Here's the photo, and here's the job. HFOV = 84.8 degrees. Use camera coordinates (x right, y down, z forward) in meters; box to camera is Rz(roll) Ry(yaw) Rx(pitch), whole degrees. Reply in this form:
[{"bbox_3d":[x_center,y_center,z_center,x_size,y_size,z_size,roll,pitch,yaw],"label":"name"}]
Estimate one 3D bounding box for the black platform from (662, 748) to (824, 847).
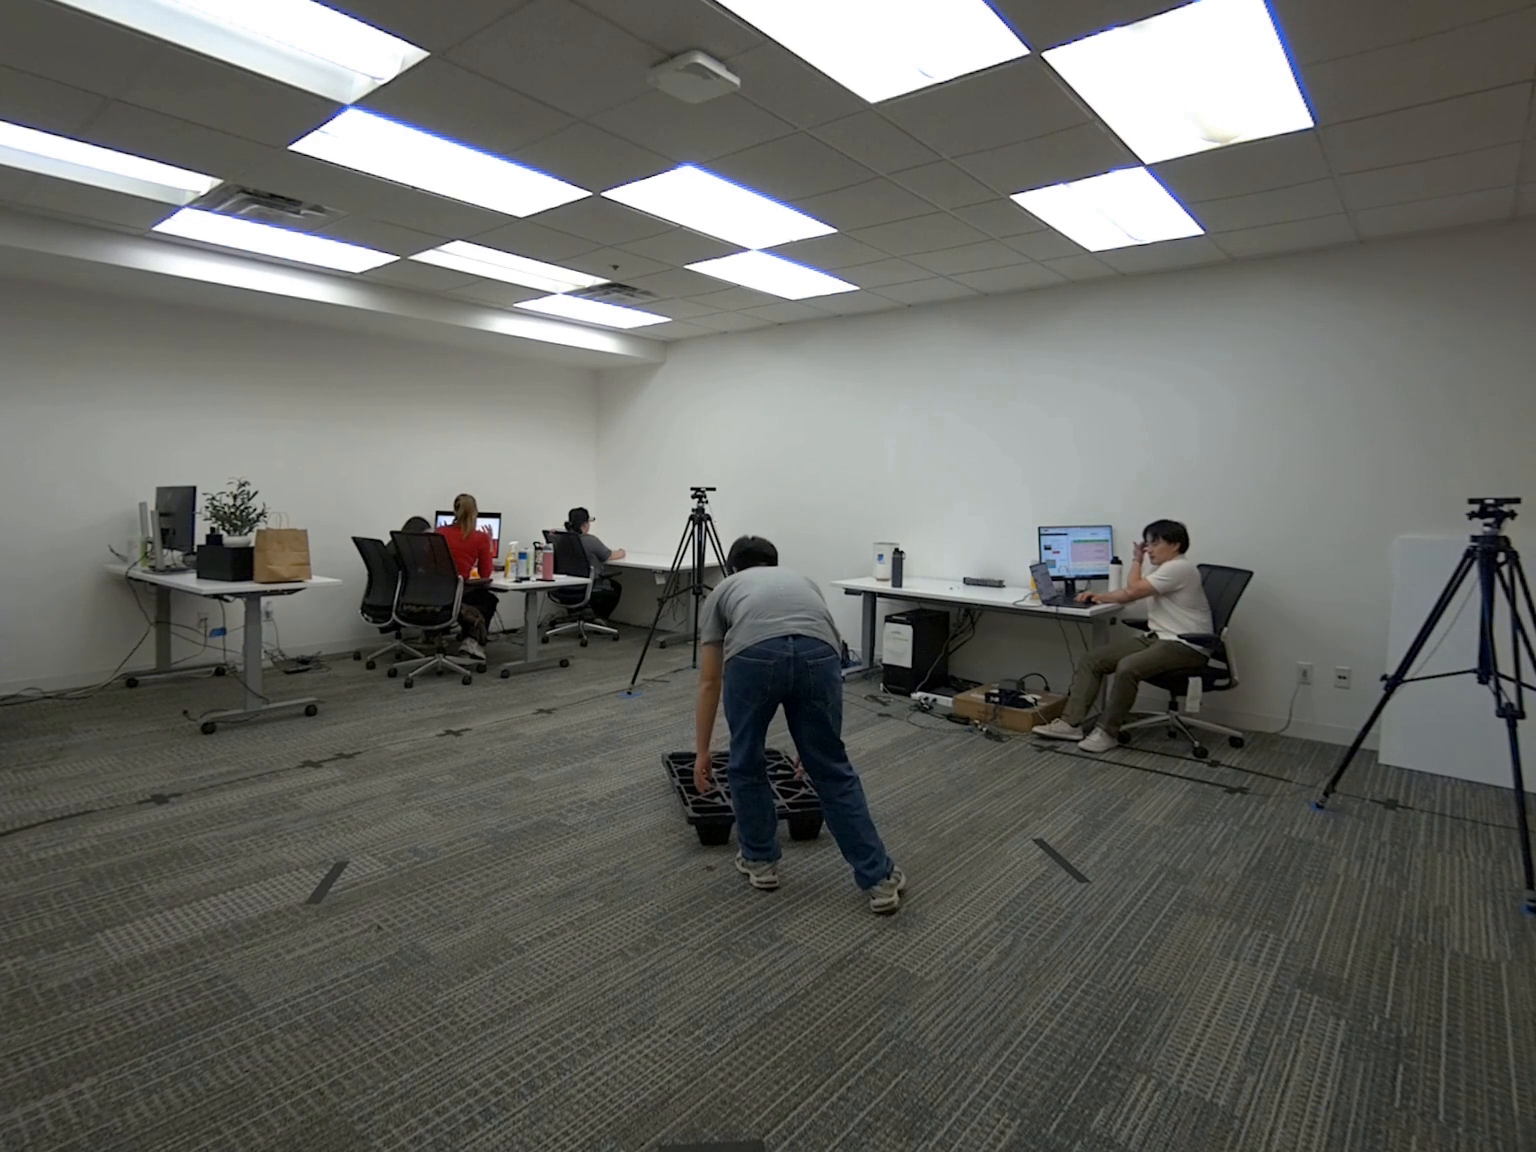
[{"bbox_3d":[-0.134,0.944,3.700,0.597,0.143,0.819,0,5,-13],"label":"black platform"}]
